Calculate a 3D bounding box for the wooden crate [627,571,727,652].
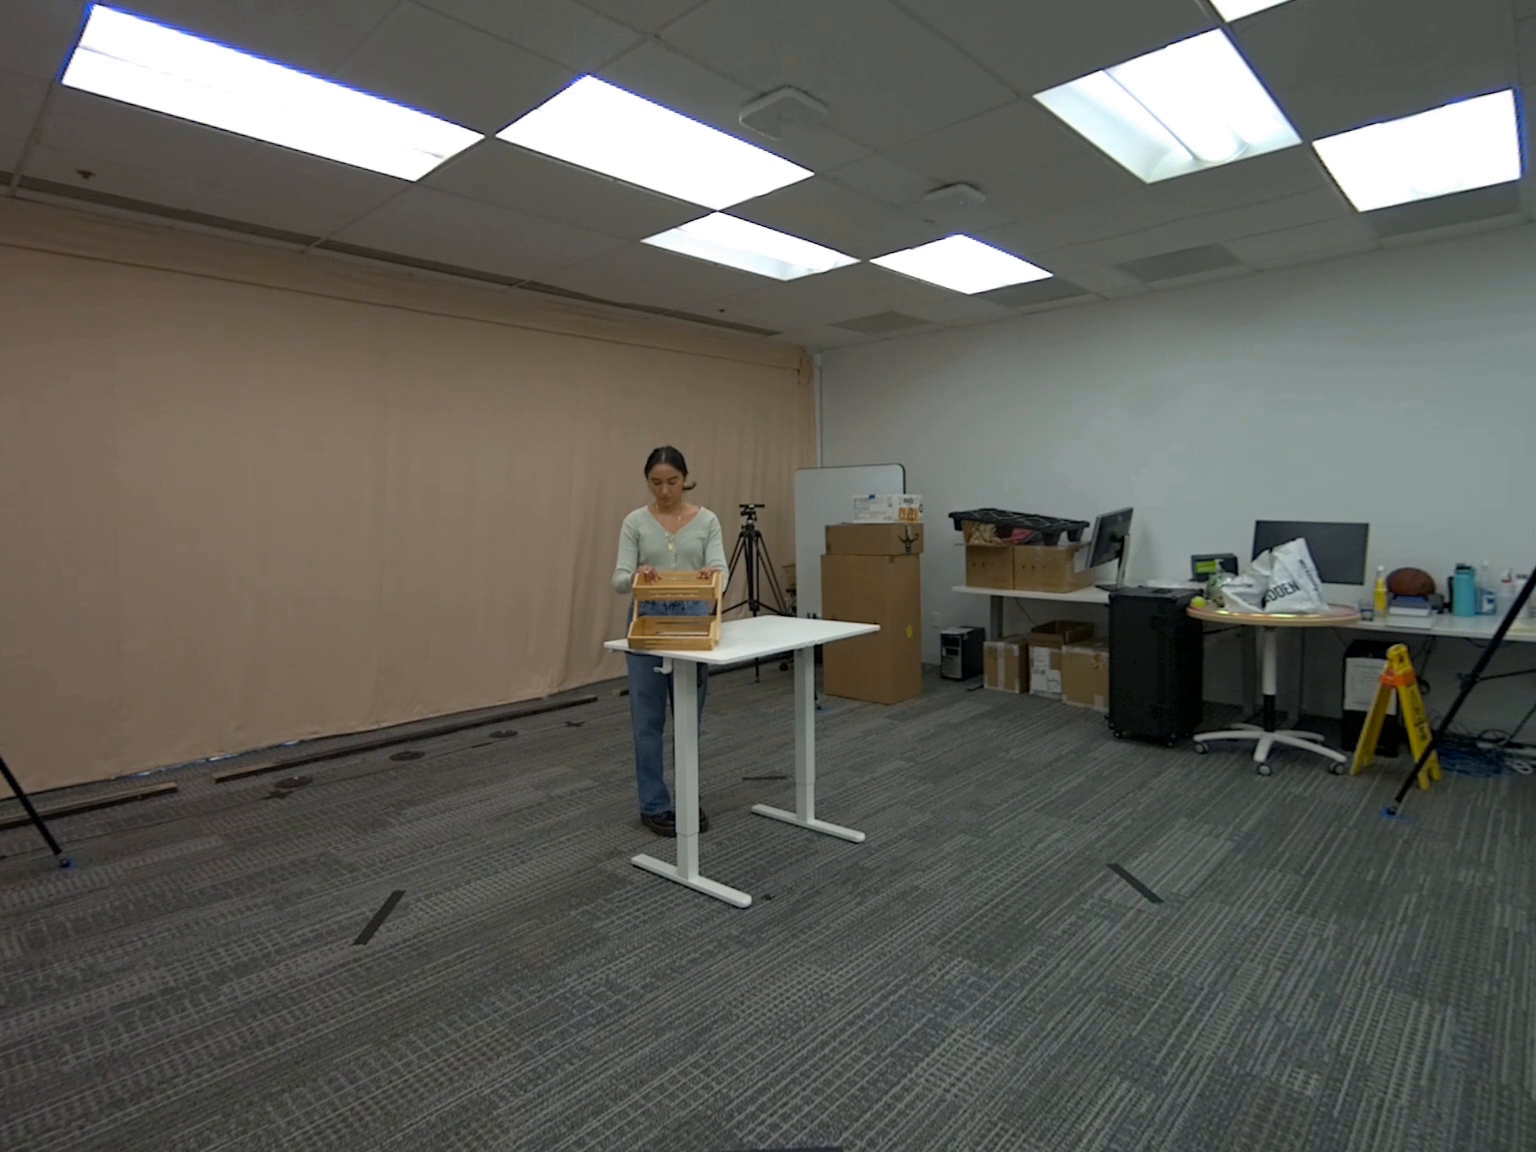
[{"bbox_3d":[-0.334,0.118,3.097,0.327,0.273,0.300,0,3,6],"label":"wooden crate"}]
